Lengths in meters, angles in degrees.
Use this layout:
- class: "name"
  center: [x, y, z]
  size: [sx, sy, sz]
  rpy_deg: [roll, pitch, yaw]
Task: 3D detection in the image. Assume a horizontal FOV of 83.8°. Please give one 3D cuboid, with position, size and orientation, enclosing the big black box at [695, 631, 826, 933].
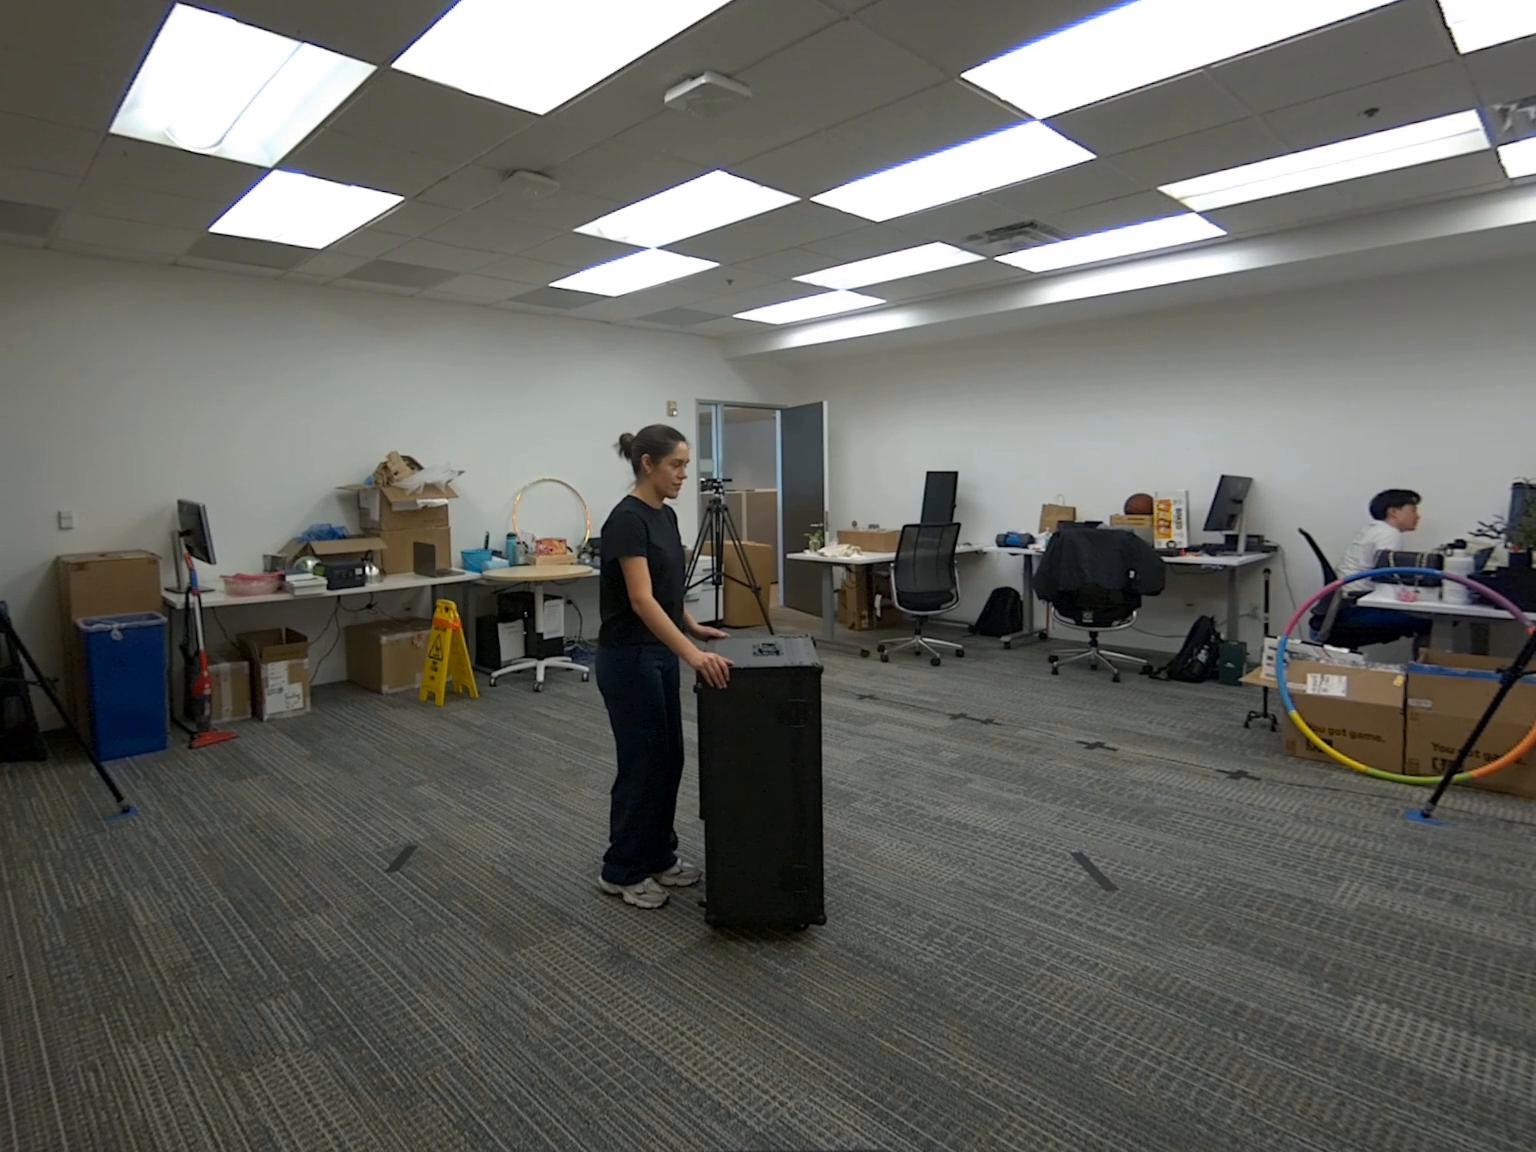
- class: "big black box"
  center: [-0.032, 0.657, 2.760]
  size: [0.397, 0.858, 0.522]
  rpy_deg: [-2, 4, 0]
